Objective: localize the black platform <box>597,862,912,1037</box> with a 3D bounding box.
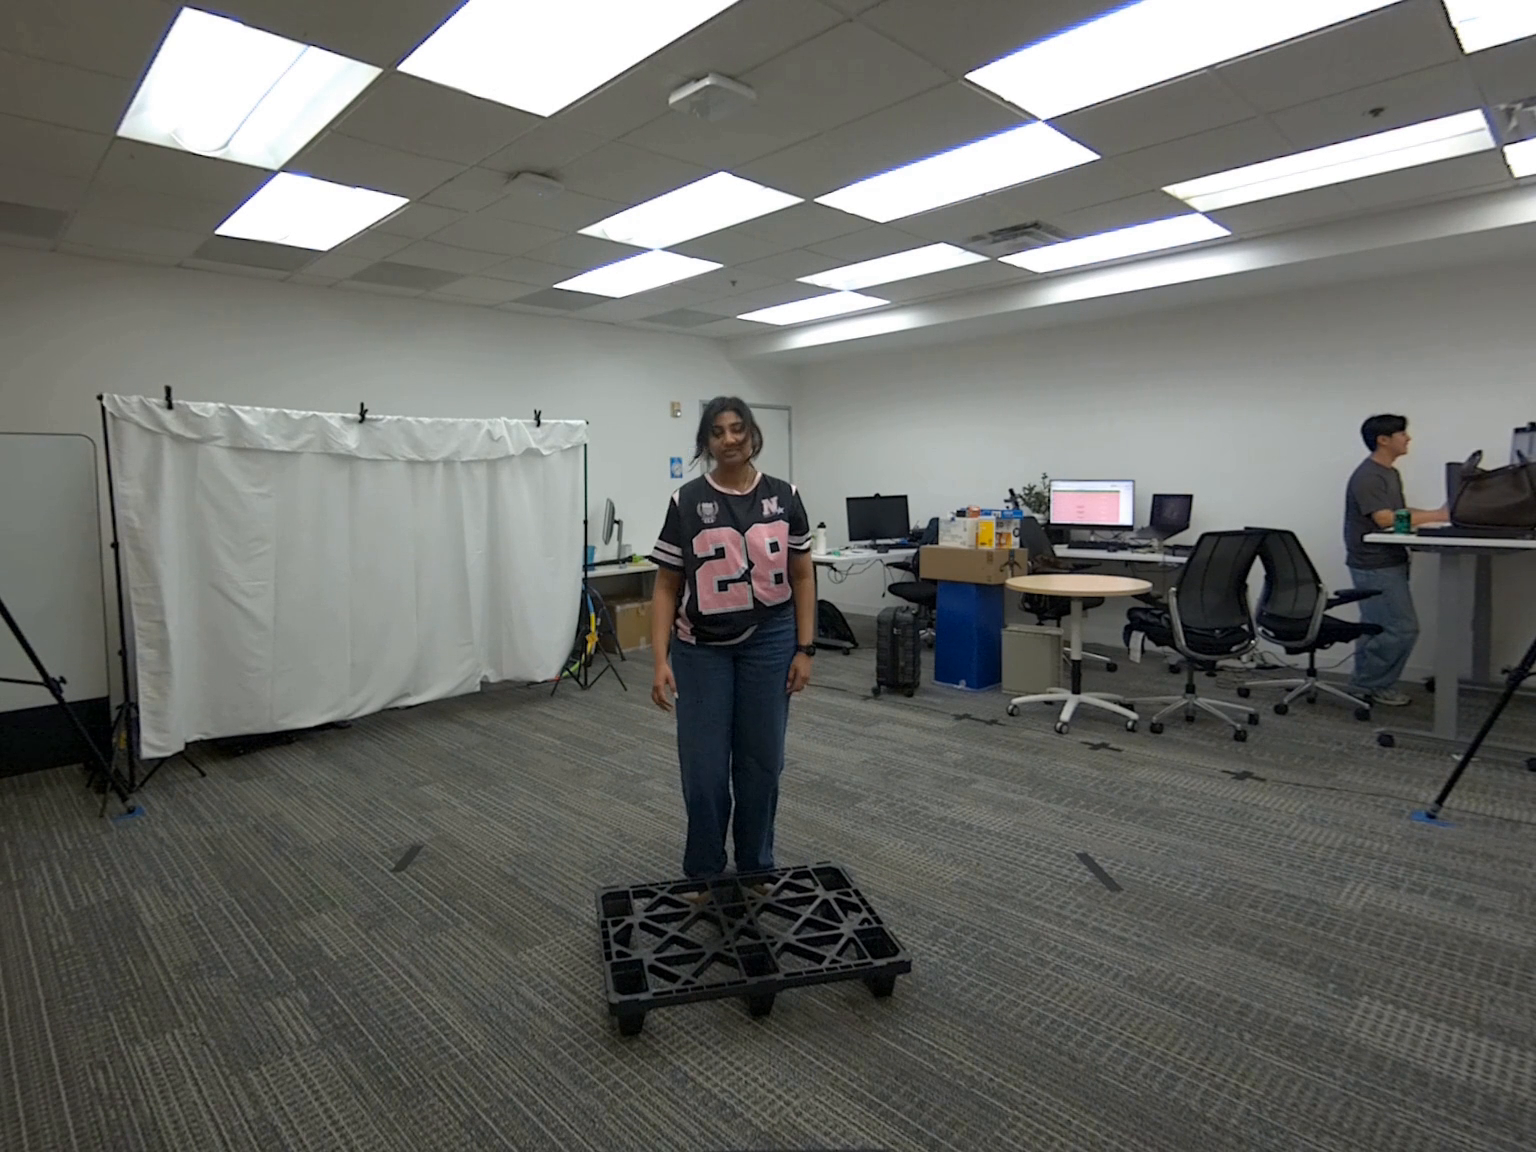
[{"bbox_3d":[-0.068,1.058,2.451,0.796,0.142,0.615,-3,7,-13],"label":"black platform"}]
